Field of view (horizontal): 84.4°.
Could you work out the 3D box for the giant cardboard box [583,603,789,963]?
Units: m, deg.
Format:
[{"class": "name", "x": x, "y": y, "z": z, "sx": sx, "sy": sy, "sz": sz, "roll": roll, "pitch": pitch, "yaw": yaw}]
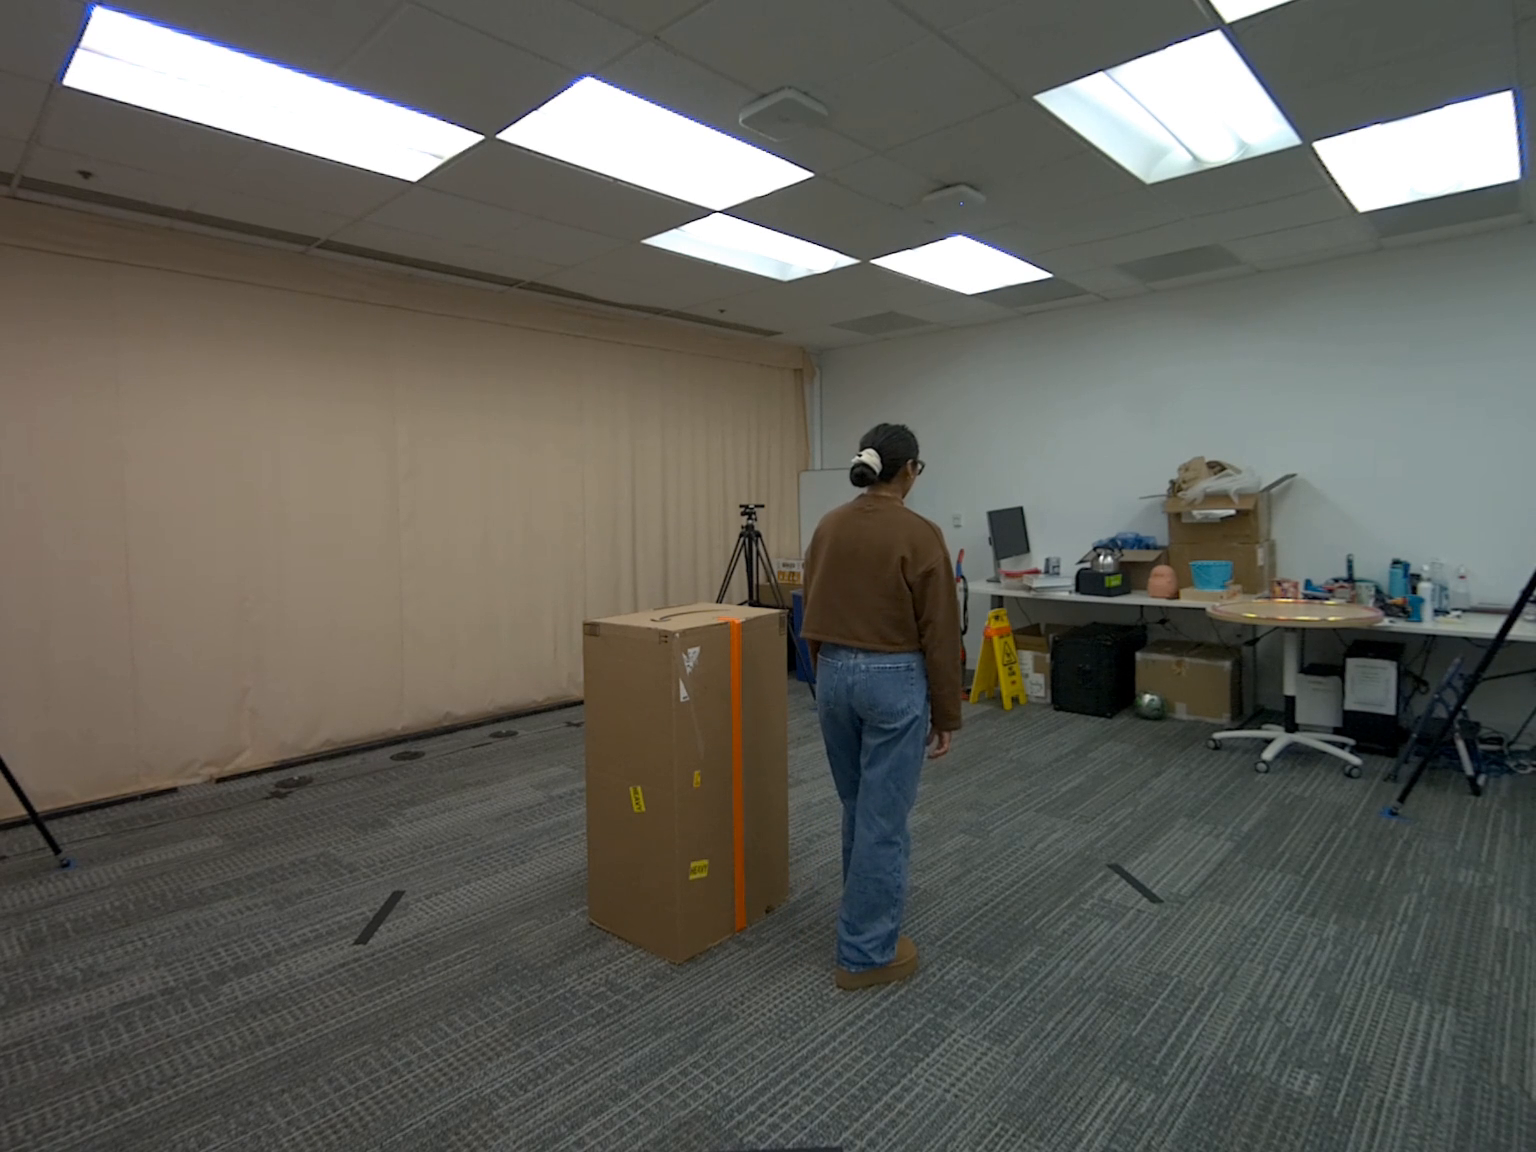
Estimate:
[{"class": "giant cardboard box", "x": -0.264, "y": 0.644, "z": 2.879, "sx": 0.440, "sy": 1.023, "sz": 0.560, "roll": 2, "pitch": 5, "yaw": 40}]
